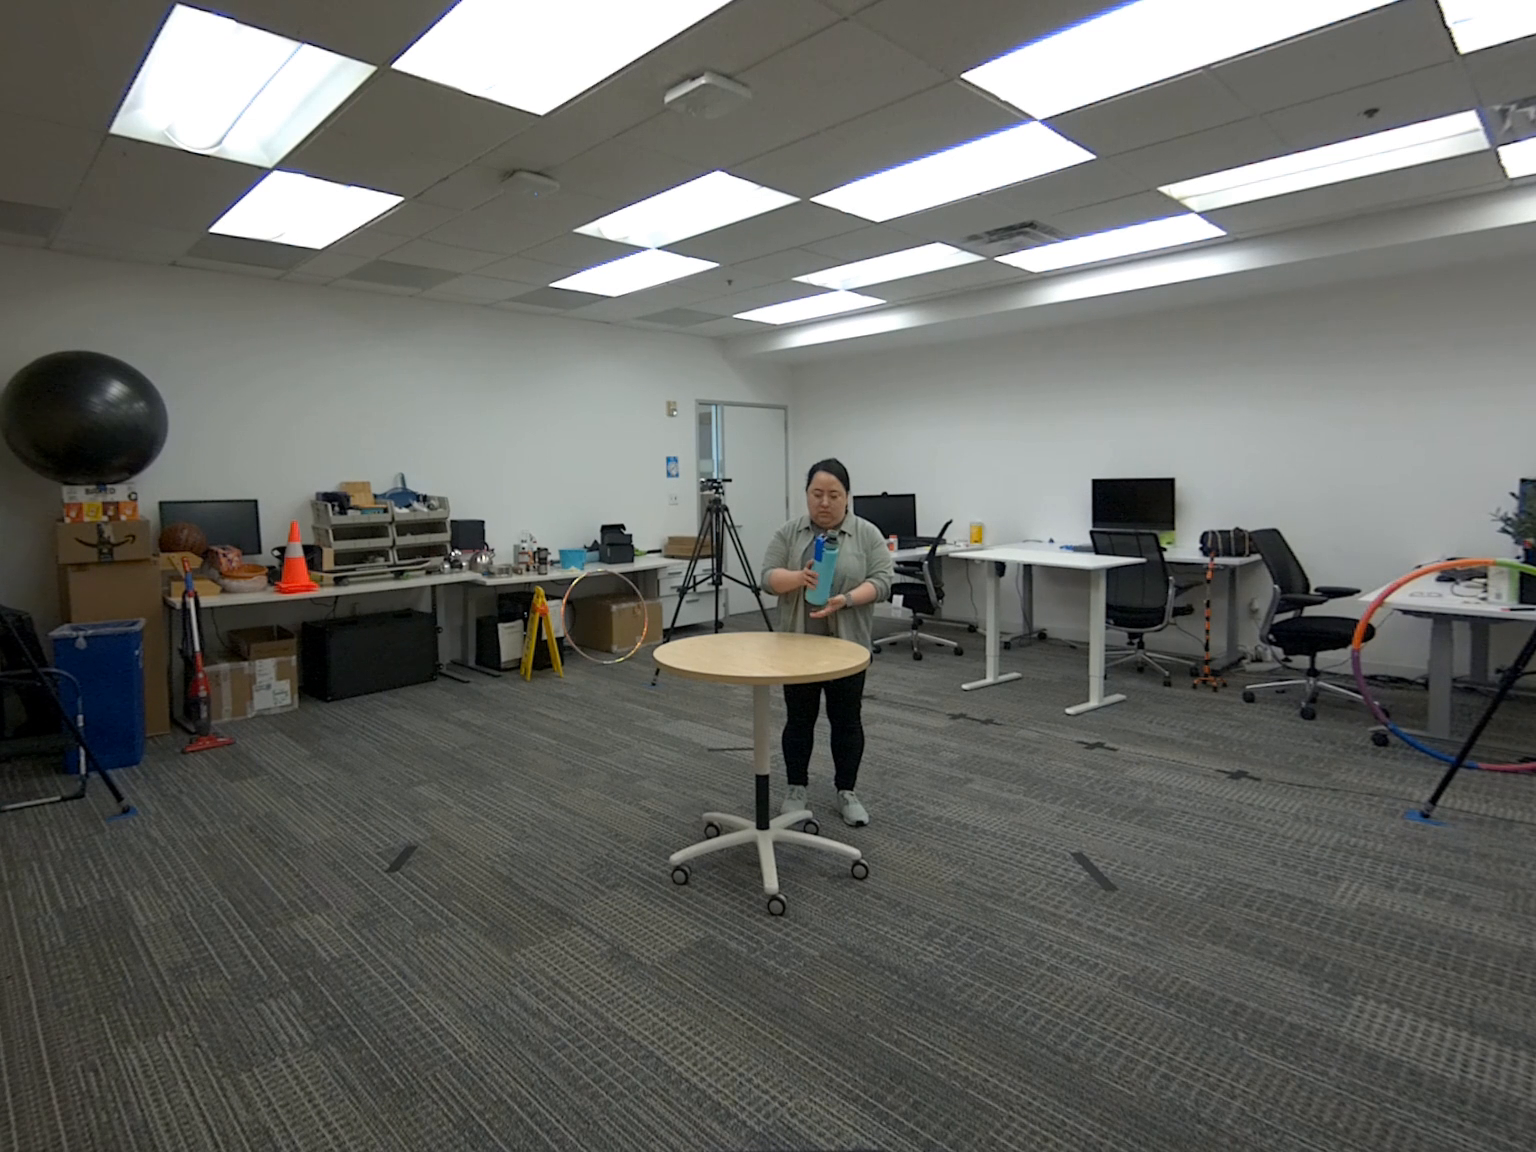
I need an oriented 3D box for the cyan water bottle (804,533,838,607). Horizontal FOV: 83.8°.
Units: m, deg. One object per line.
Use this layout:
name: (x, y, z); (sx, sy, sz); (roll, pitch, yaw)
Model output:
cyan water bottle: (0.217, -0.030, 3.247); (0.092, 0.279, 0.094); (6, 22, -4)
